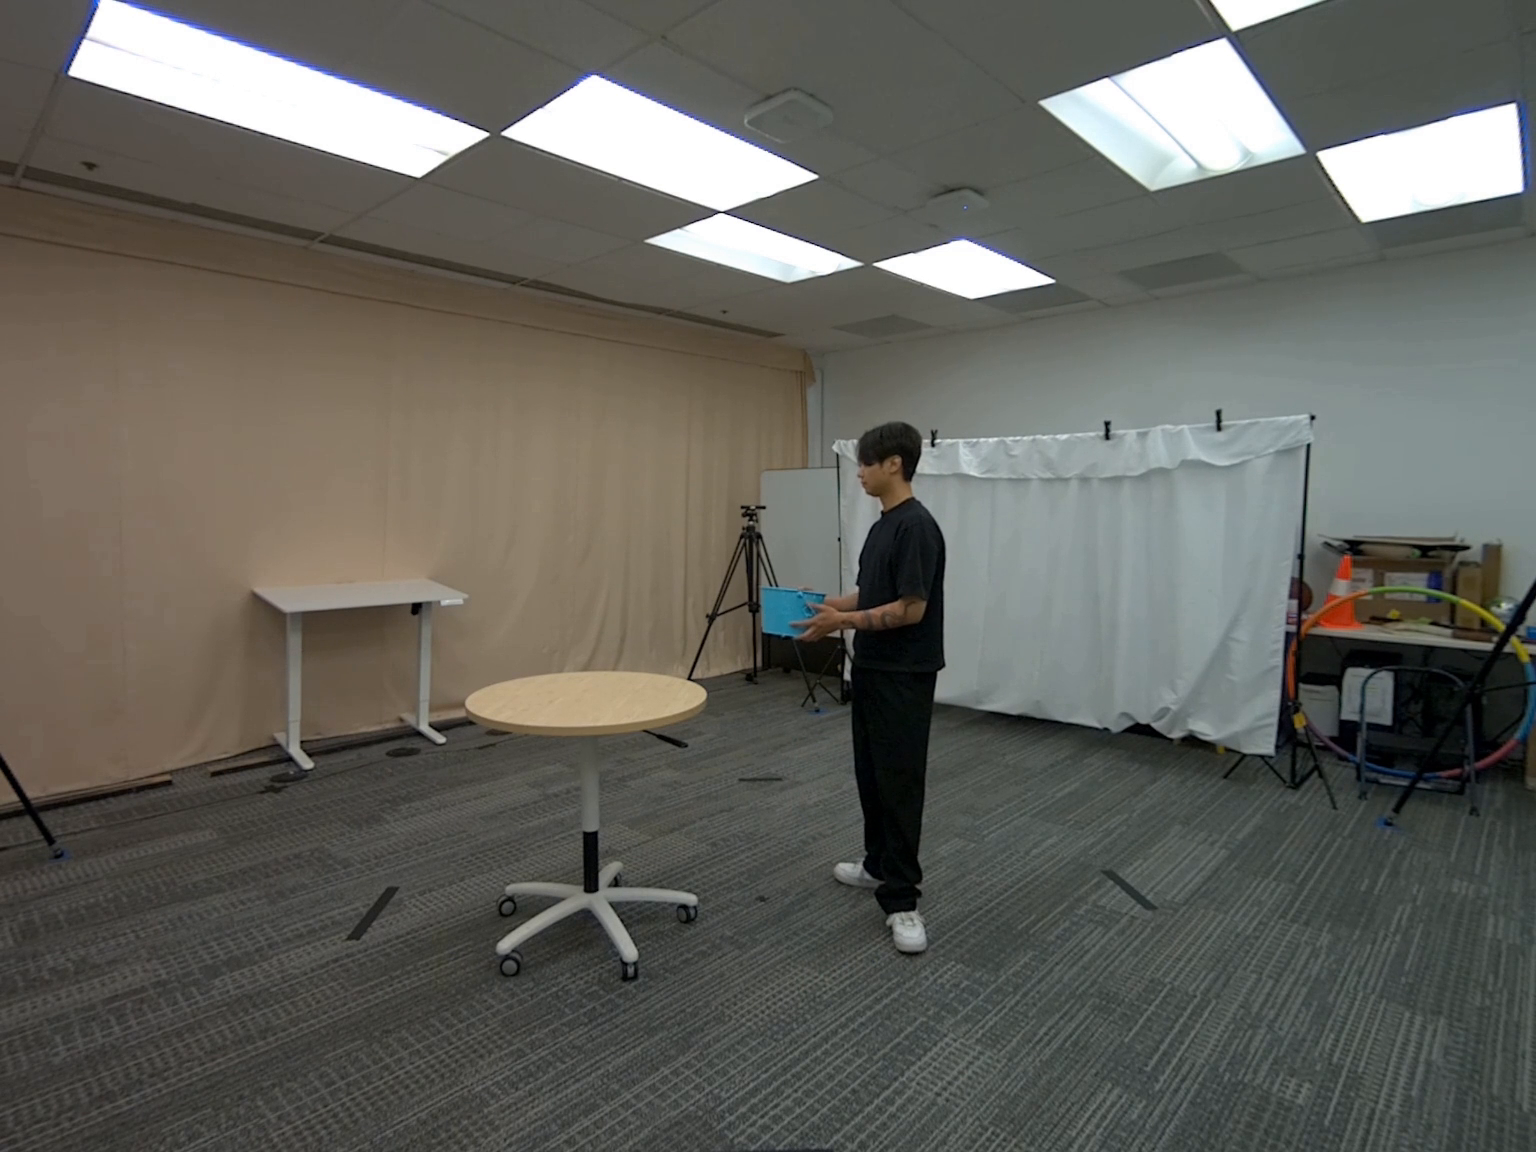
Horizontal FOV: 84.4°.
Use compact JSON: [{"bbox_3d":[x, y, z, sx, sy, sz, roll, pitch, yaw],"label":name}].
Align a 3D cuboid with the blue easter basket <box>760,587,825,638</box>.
[{"bbox_3d":[0.099,0.127,2.877,0.243,0.156,0.244,5,0,-2],"label":"blue easter basket"}]
